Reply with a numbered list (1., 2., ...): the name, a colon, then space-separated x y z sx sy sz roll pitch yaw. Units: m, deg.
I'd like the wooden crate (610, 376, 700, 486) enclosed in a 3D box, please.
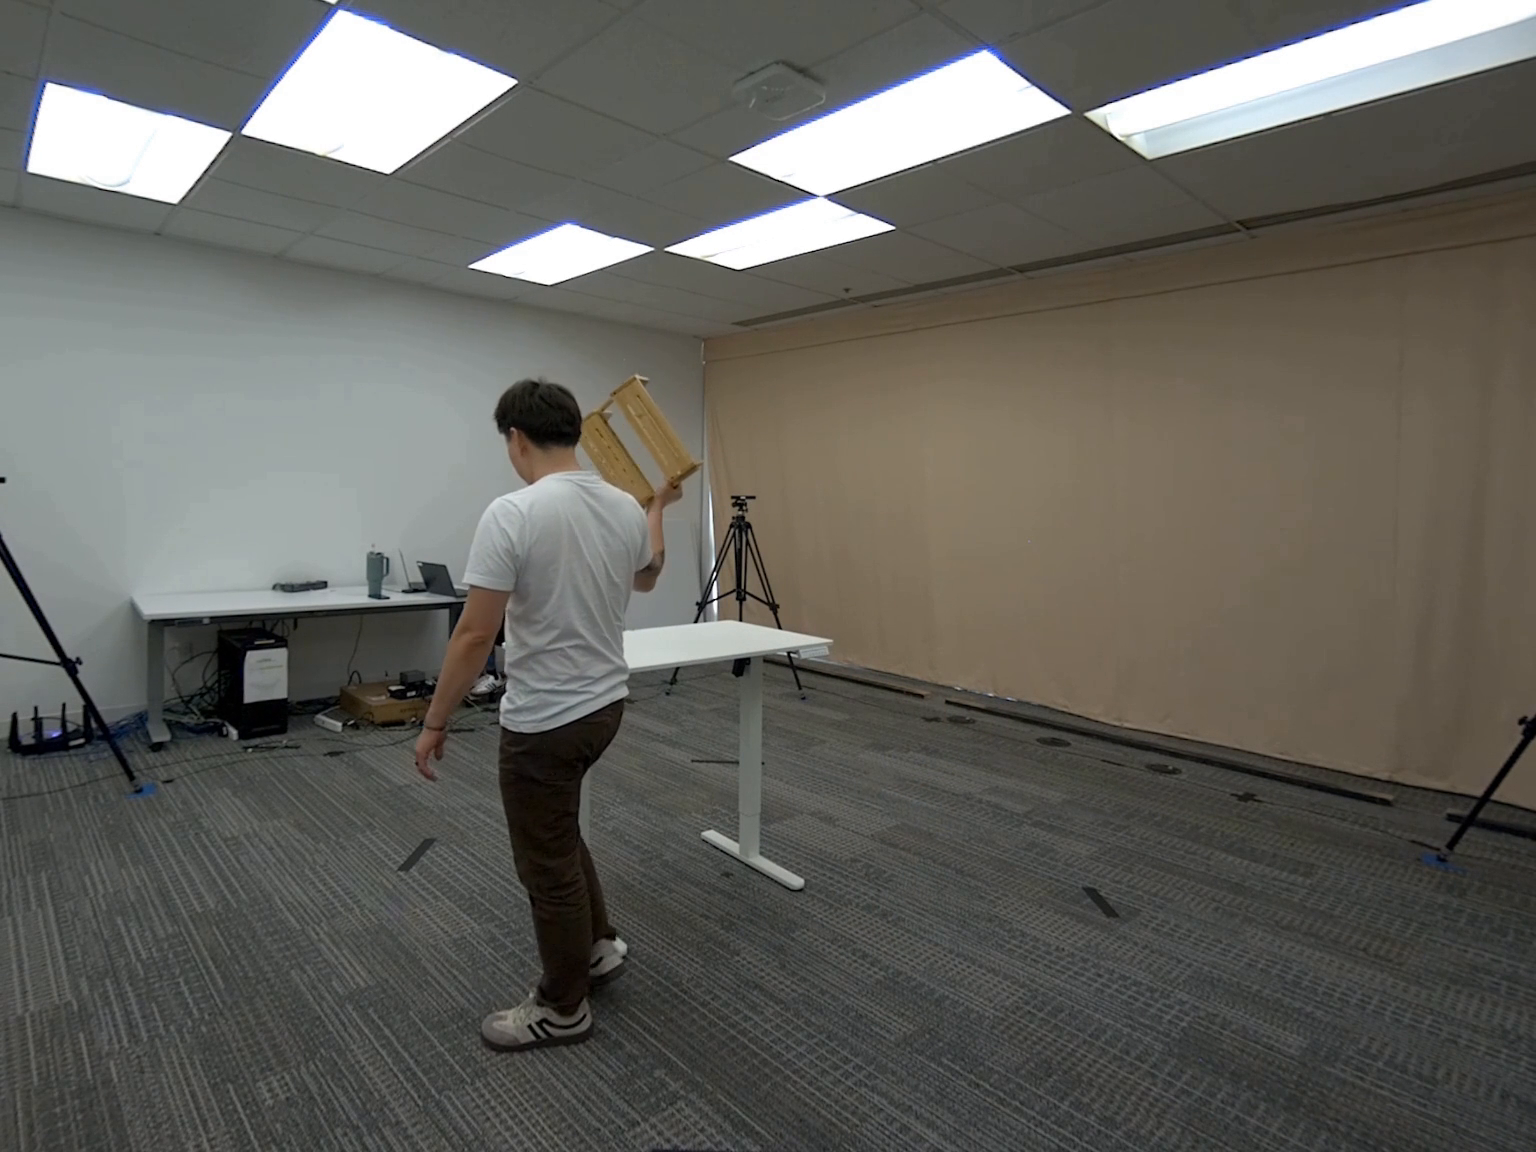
1. wooden crate: -0.389 -0.400 2.520 0.274 0.323 0.302 -33 3 12
